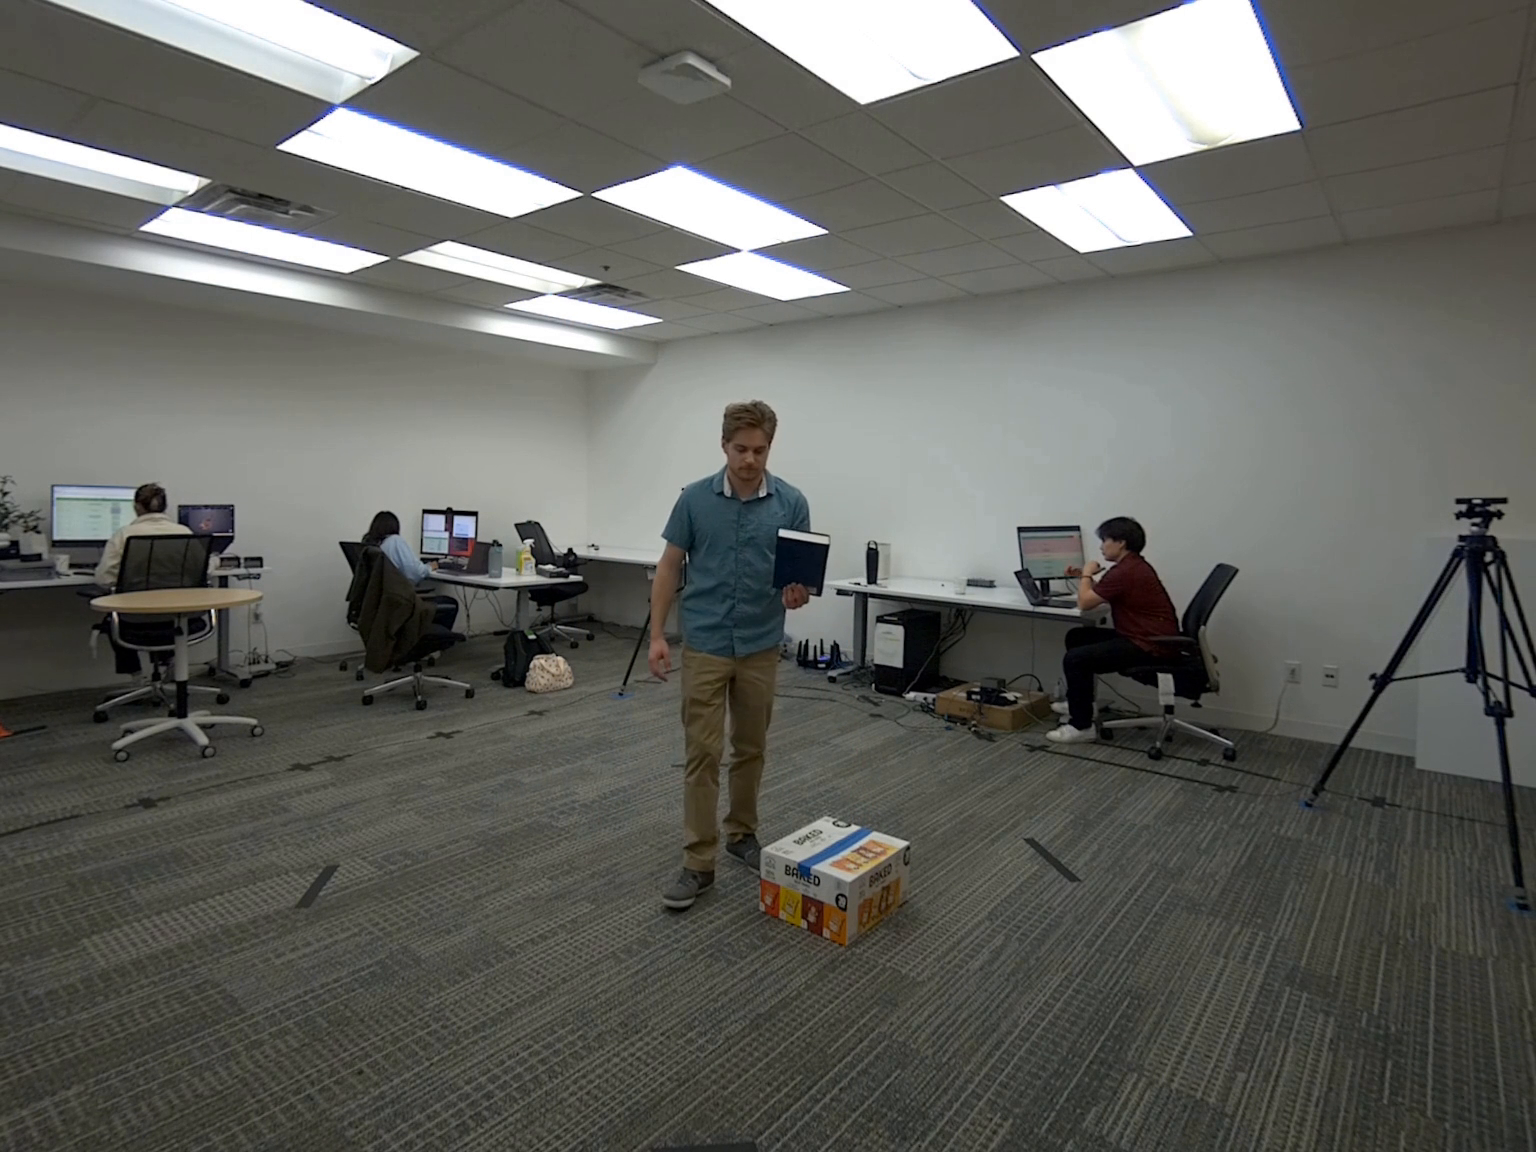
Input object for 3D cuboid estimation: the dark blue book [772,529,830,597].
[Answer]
[{"bbox_3d":[0.083,-0.048,2.675,0.165,0.239,0.046,12,47,6],"label":"dark blue book"}]
